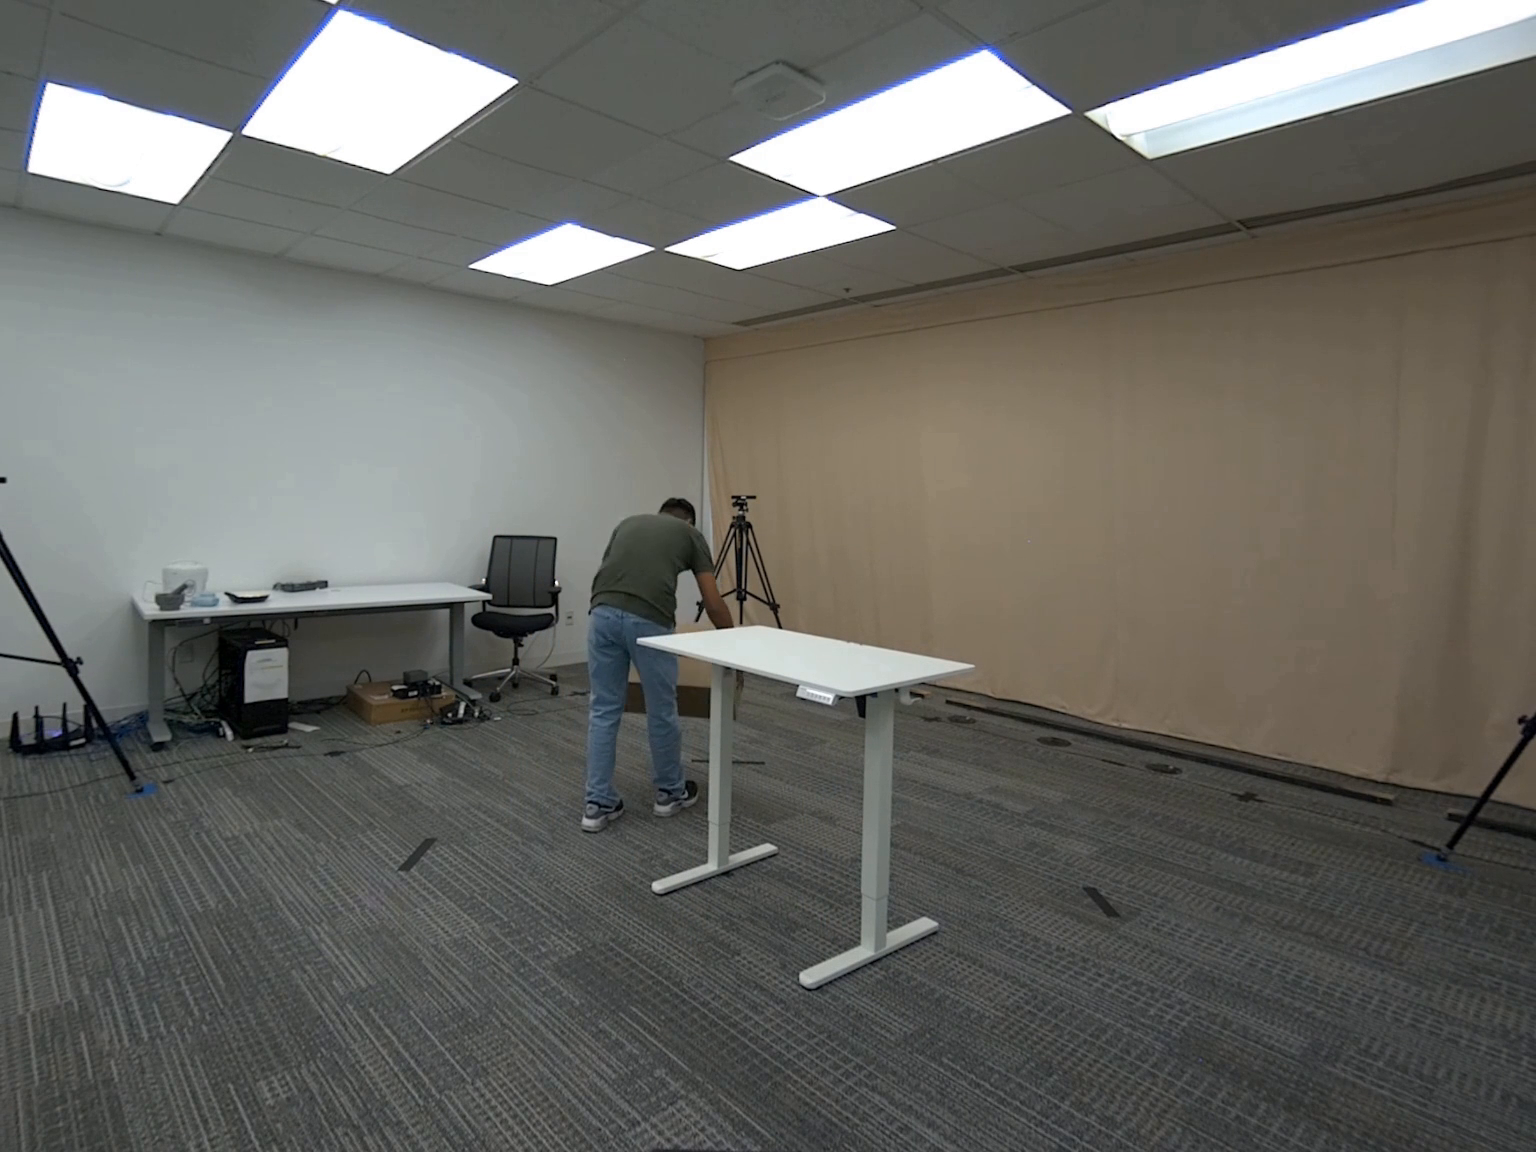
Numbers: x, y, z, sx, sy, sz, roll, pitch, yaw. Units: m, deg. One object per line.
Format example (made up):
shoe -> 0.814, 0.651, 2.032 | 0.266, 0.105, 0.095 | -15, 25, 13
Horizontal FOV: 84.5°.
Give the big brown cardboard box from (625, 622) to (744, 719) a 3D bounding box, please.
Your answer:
big brown cardboard box -> -0.398, 0.437, 3.982 | 0.594, 0.228, 0.424 | 1, 38, 9
